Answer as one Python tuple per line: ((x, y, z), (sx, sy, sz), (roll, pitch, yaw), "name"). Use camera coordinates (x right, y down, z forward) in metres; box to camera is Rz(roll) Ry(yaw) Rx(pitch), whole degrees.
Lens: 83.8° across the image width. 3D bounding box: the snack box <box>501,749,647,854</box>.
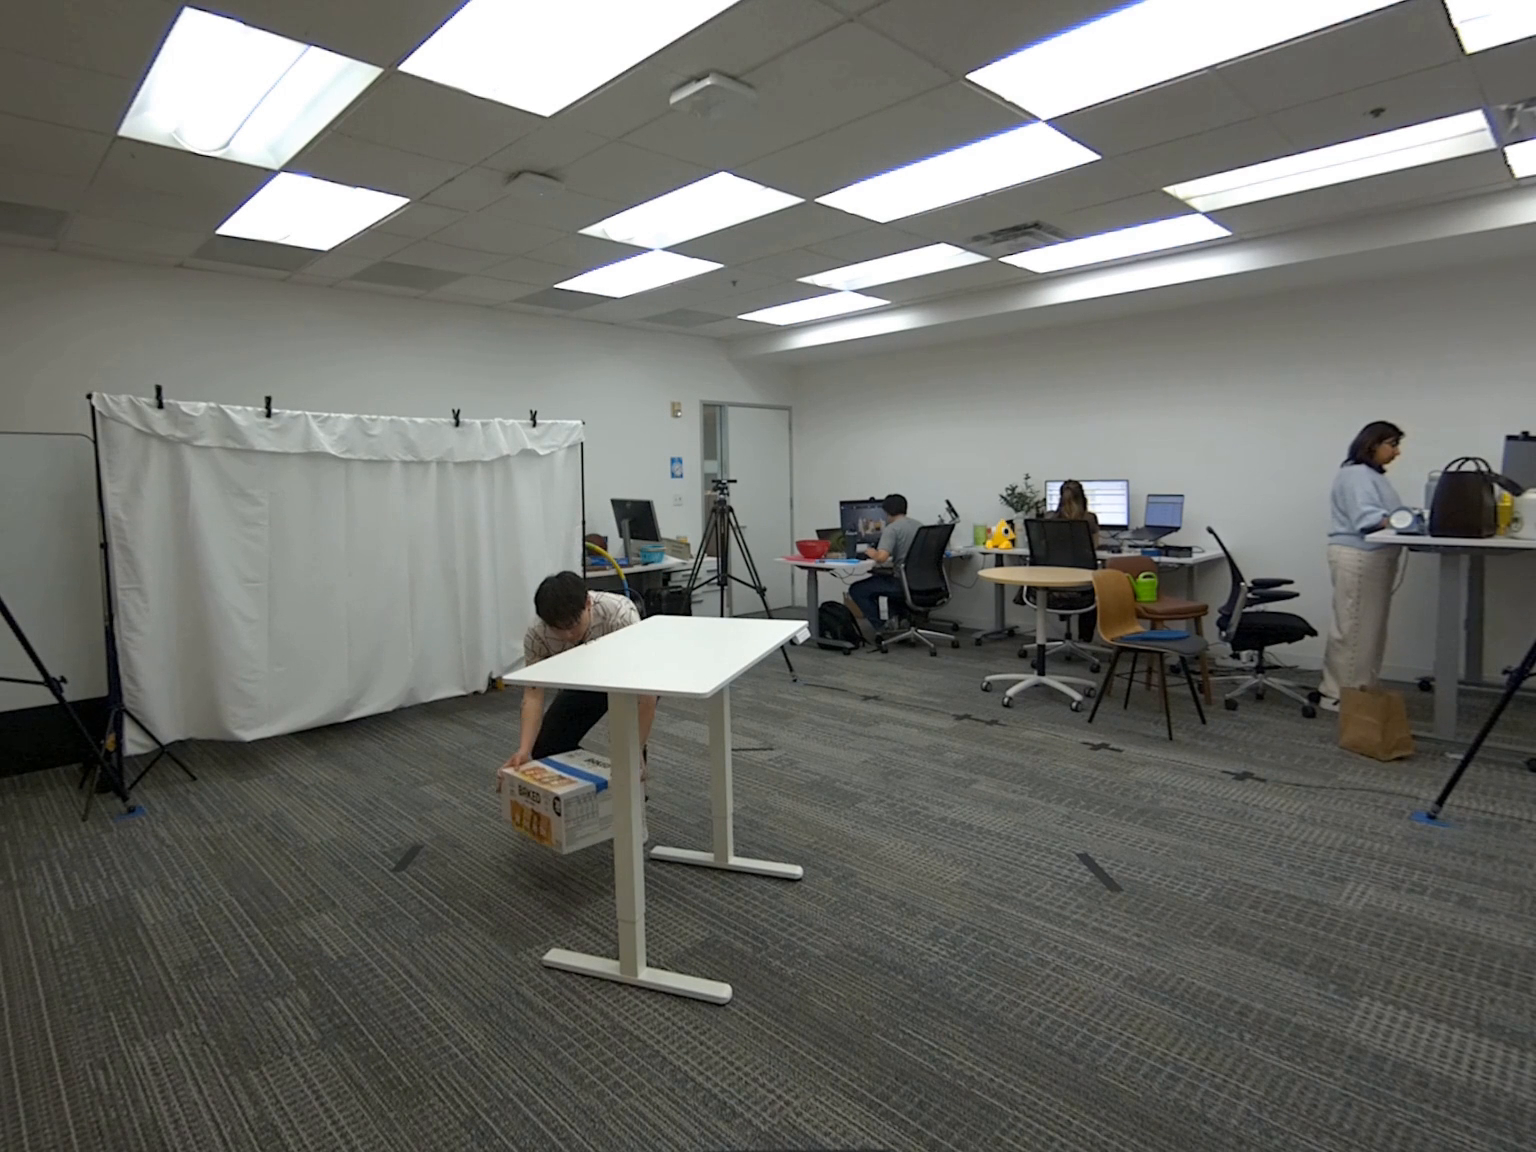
((-0.698, 0.790, 3.034), (0.331, 0.205, 0.417), (-6, 6, -44), "snack box")
